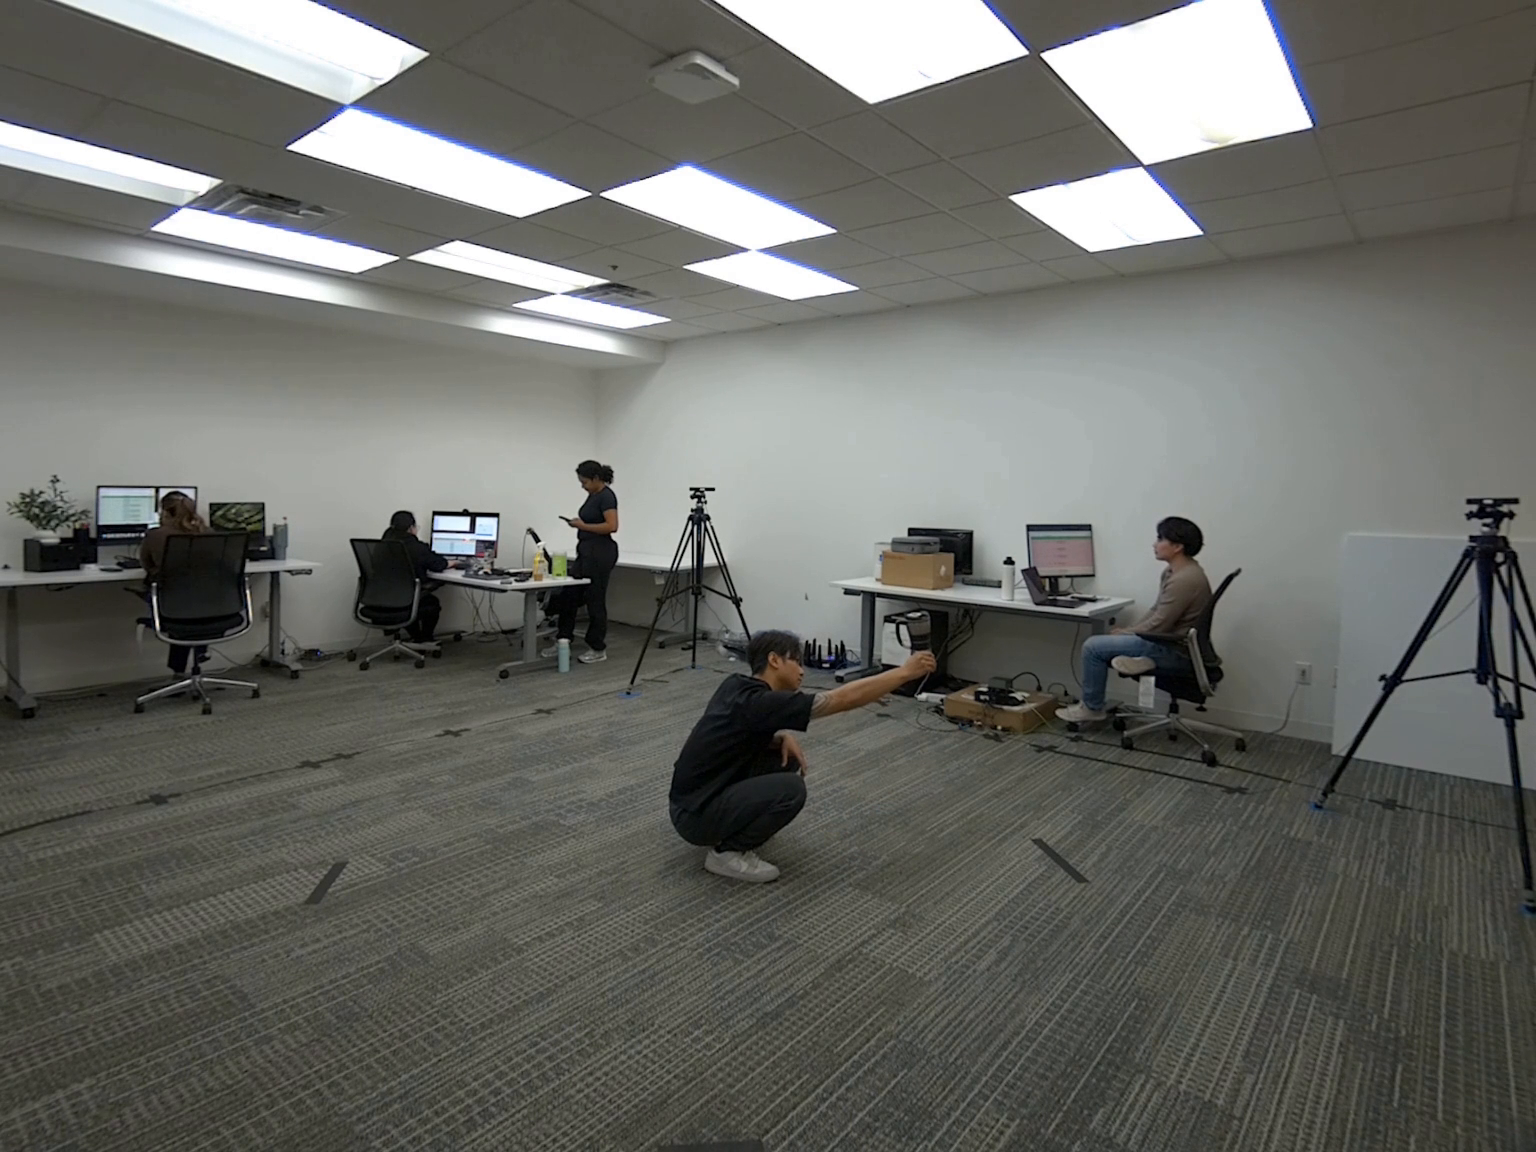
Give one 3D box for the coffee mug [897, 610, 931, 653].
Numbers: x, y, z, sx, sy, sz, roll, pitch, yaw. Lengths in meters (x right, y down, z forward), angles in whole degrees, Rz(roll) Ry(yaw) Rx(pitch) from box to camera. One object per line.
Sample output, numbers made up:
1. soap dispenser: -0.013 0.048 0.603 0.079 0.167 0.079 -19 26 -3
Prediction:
1. coffee mug: 0.536 0.232 3.109 0.125 0.201 0.086 -3 12 37
